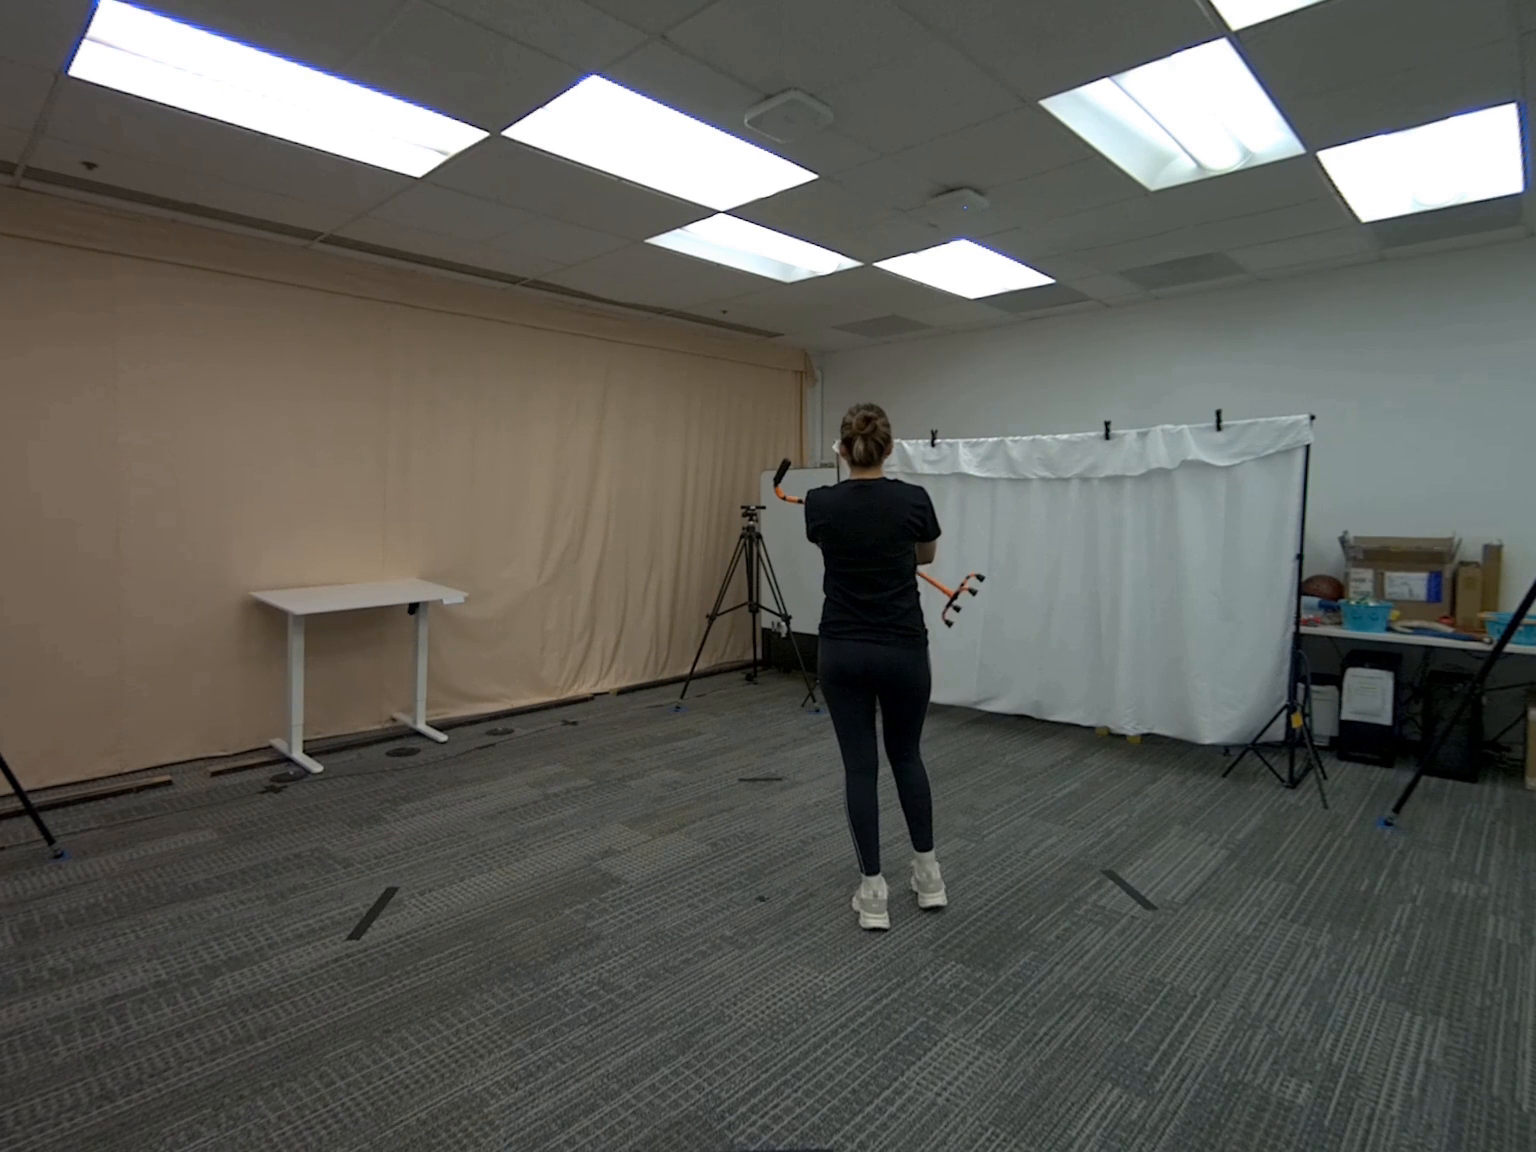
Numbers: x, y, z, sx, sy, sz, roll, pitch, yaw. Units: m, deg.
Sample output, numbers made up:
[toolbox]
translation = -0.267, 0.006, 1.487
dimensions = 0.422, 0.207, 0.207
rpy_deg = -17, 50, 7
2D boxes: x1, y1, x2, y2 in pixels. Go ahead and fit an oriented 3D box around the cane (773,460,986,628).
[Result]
[cane]
translation = 0.407, -0.156, 3.368
dimensions = 0.920, 0.206, 0.150
rpy_deg = 34, 32, 11
